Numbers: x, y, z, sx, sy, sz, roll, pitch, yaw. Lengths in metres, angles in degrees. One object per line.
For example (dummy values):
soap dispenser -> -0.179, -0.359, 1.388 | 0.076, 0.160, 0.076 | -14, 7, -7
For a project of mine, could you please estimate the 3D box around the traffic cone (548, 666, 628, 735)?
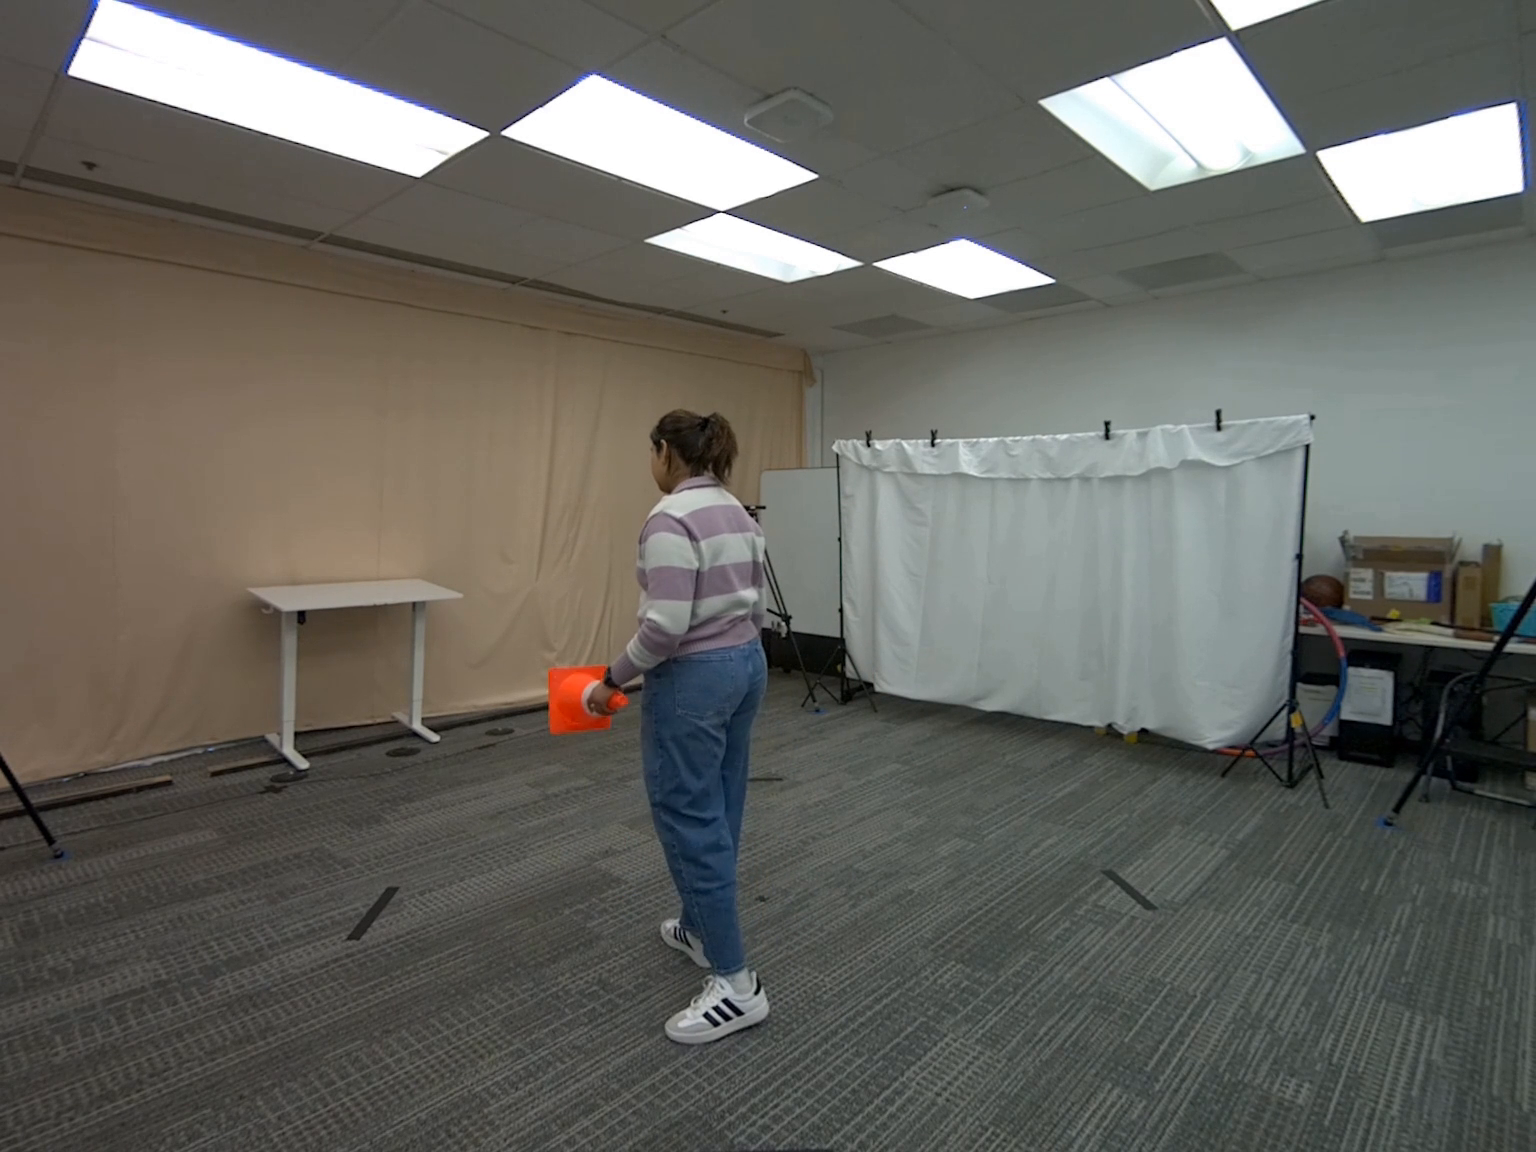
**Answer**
traffic cone -> -0.482, 0.366, 2.465 | 0.199, 0.204, 0.392 | 0, -6, -30
